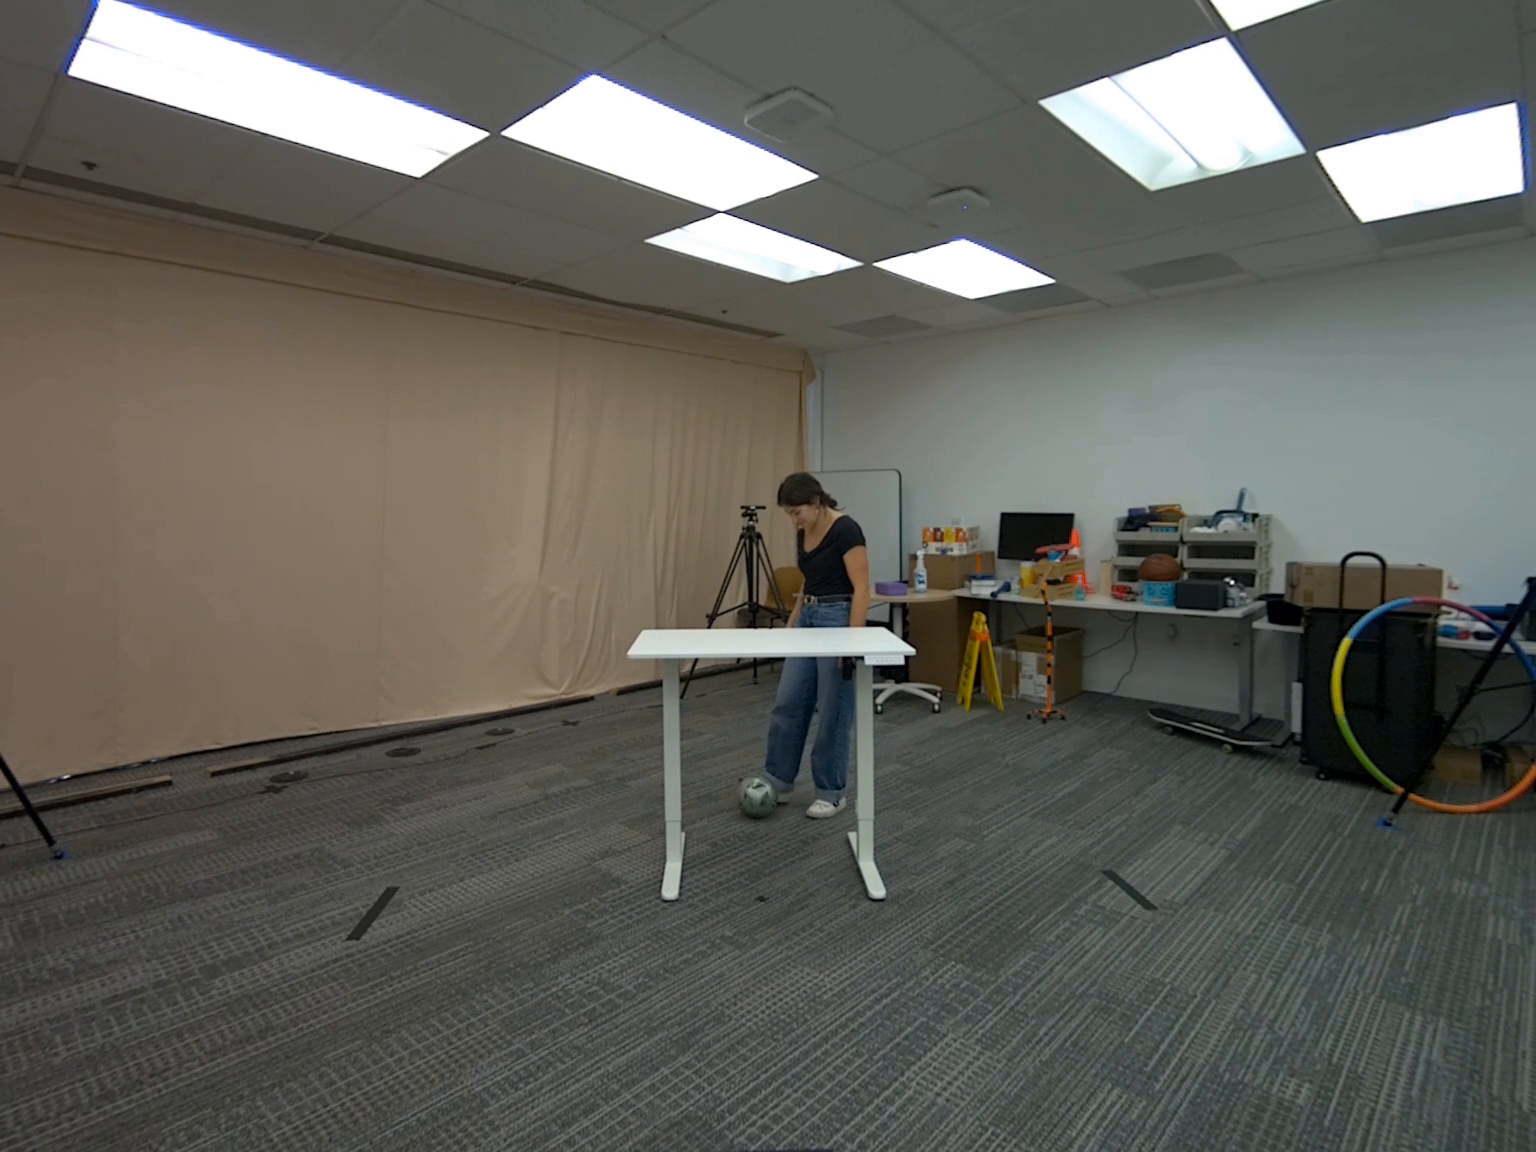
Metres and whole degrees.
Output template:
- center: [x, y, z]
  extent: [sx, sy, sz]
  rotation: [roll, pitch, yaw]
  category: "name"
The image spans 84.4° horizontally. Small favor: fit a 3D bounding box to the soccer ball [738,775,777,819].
- center: [-0.047, 0.988, 3.770]
  extent: [0.187, 0.187, 0.188]
  rotation: [0, 4, -2]
  category: "soccer ball"
